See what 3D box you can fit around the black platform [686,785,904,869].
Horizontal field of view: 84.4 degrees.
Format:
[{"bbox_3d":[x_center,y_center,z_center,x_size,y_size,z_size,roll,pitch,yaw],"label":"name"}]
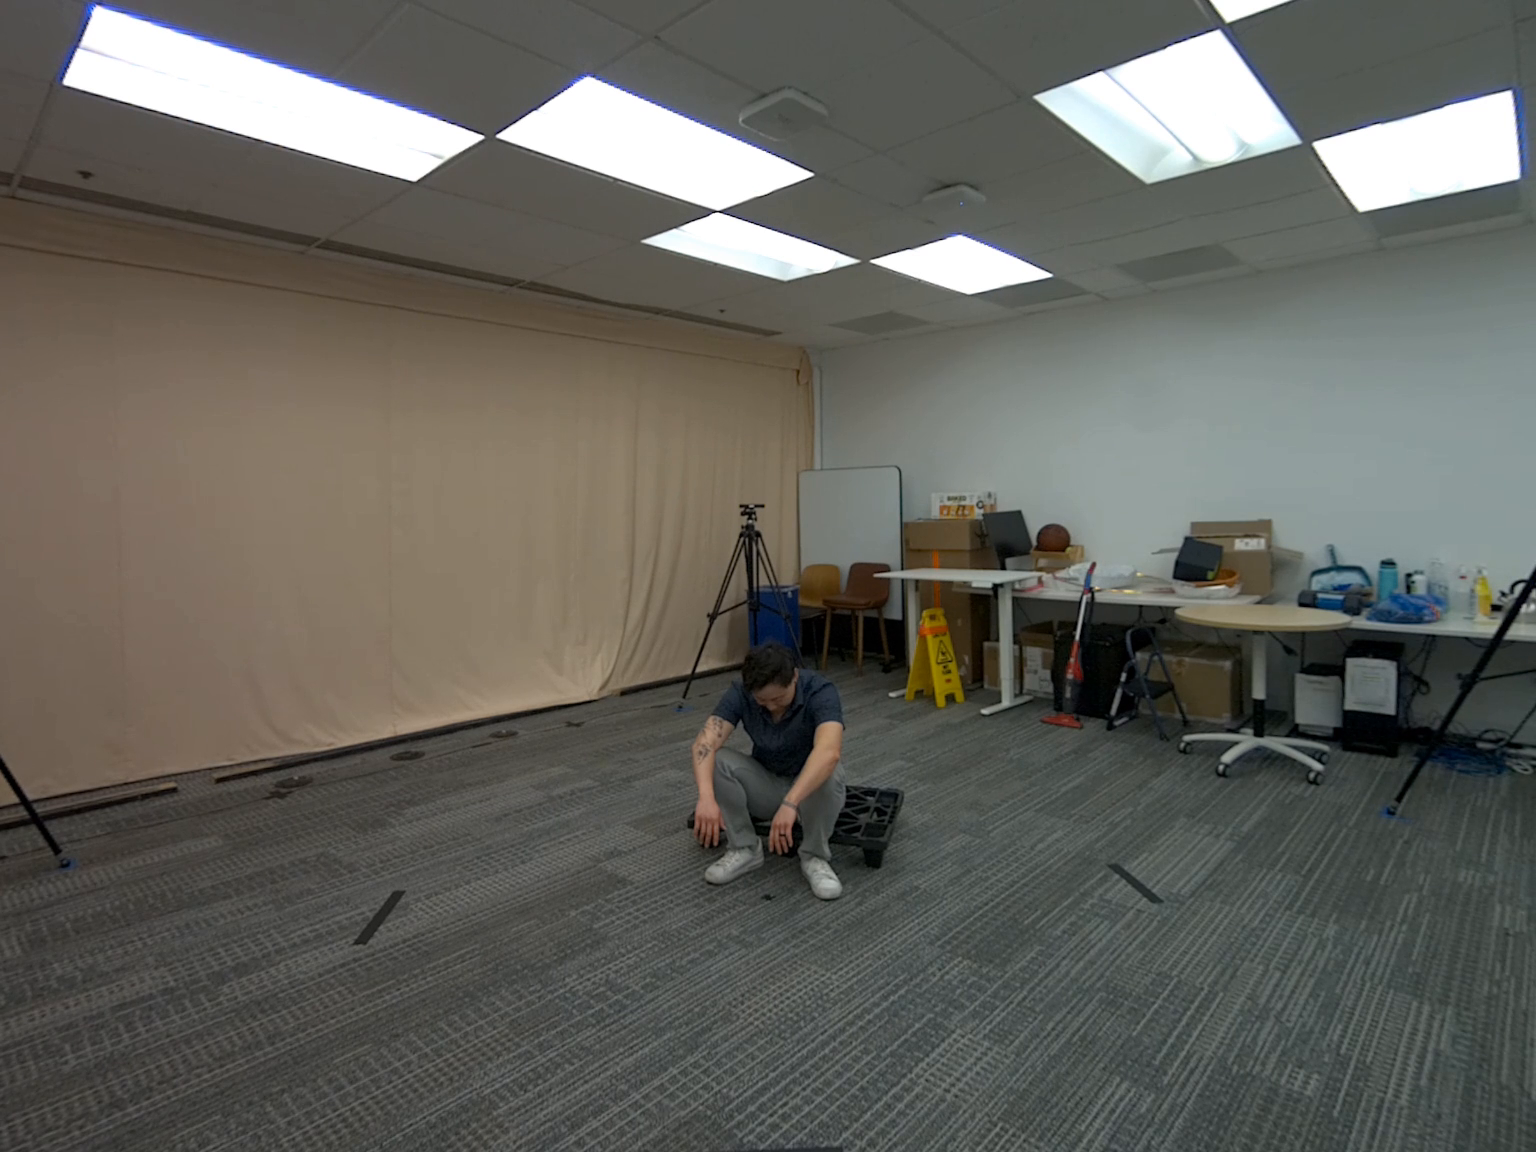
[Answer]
[{"bbox_3d":[0.142,1.023,3.531,0.821,0.143,0.595,1,5,17],"label":"black platform"}]
